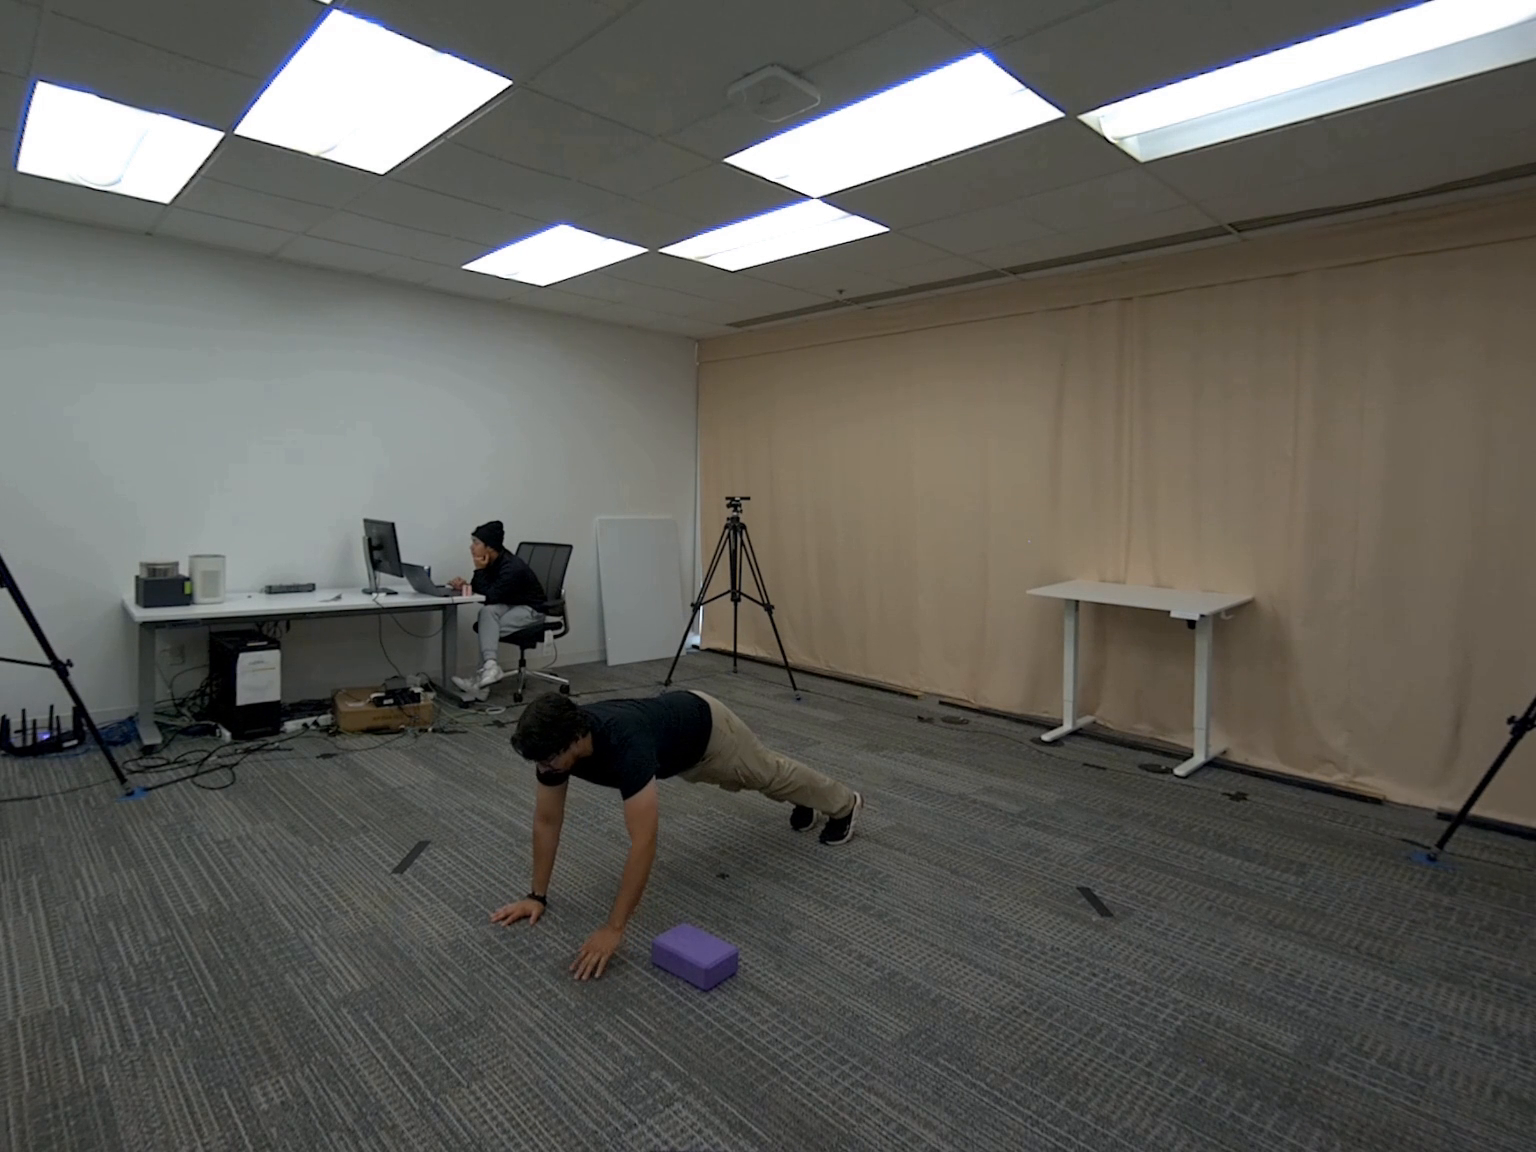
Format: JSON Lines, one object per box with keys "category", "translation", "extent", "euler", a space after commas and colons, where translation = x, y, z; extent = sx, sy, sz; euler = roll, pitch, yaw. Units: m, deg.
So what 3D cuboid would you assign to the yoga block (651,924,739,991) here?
{"category": "yoga block", "translation": [-0.229, 1.122, 2.481], "extent": [0.235, 0.076, 0.146], "euler": [5, 7, 40]}
